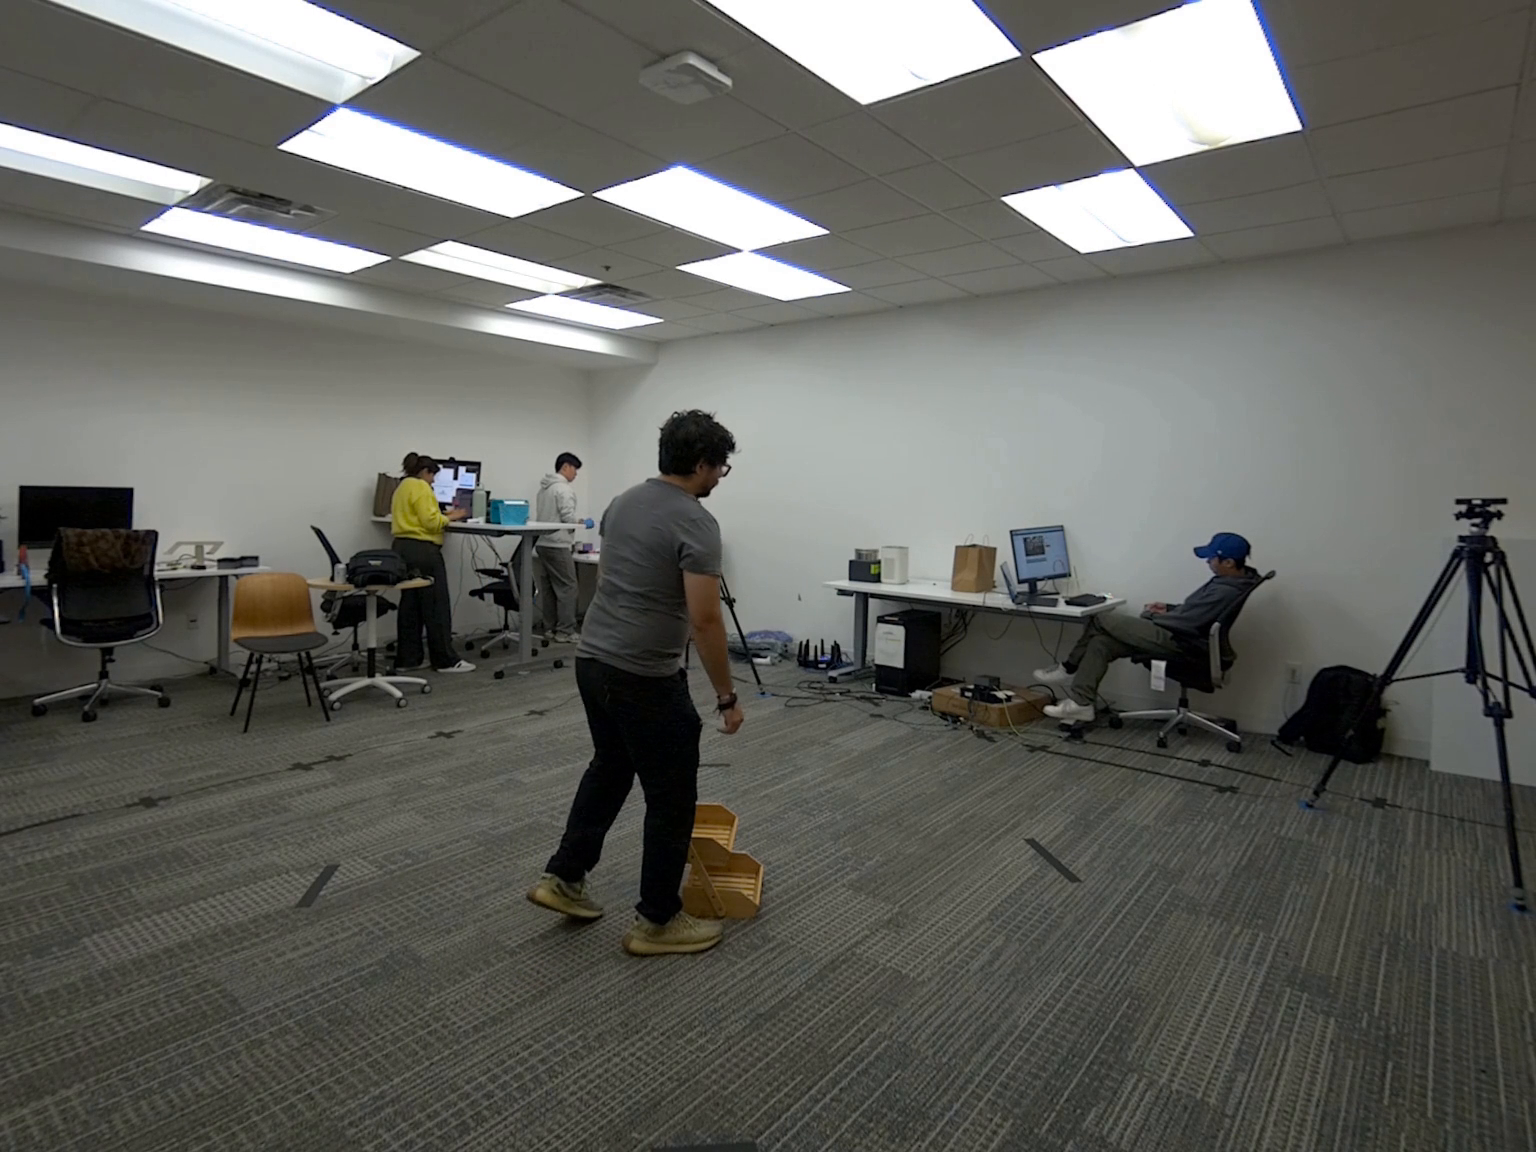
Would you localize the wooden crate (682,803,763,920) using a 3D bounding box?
[{"bbox_3d":[-0.172,0.960,2.909,0.303,0.272,0.324,1,5,3],"label":"wooden crate"}]
